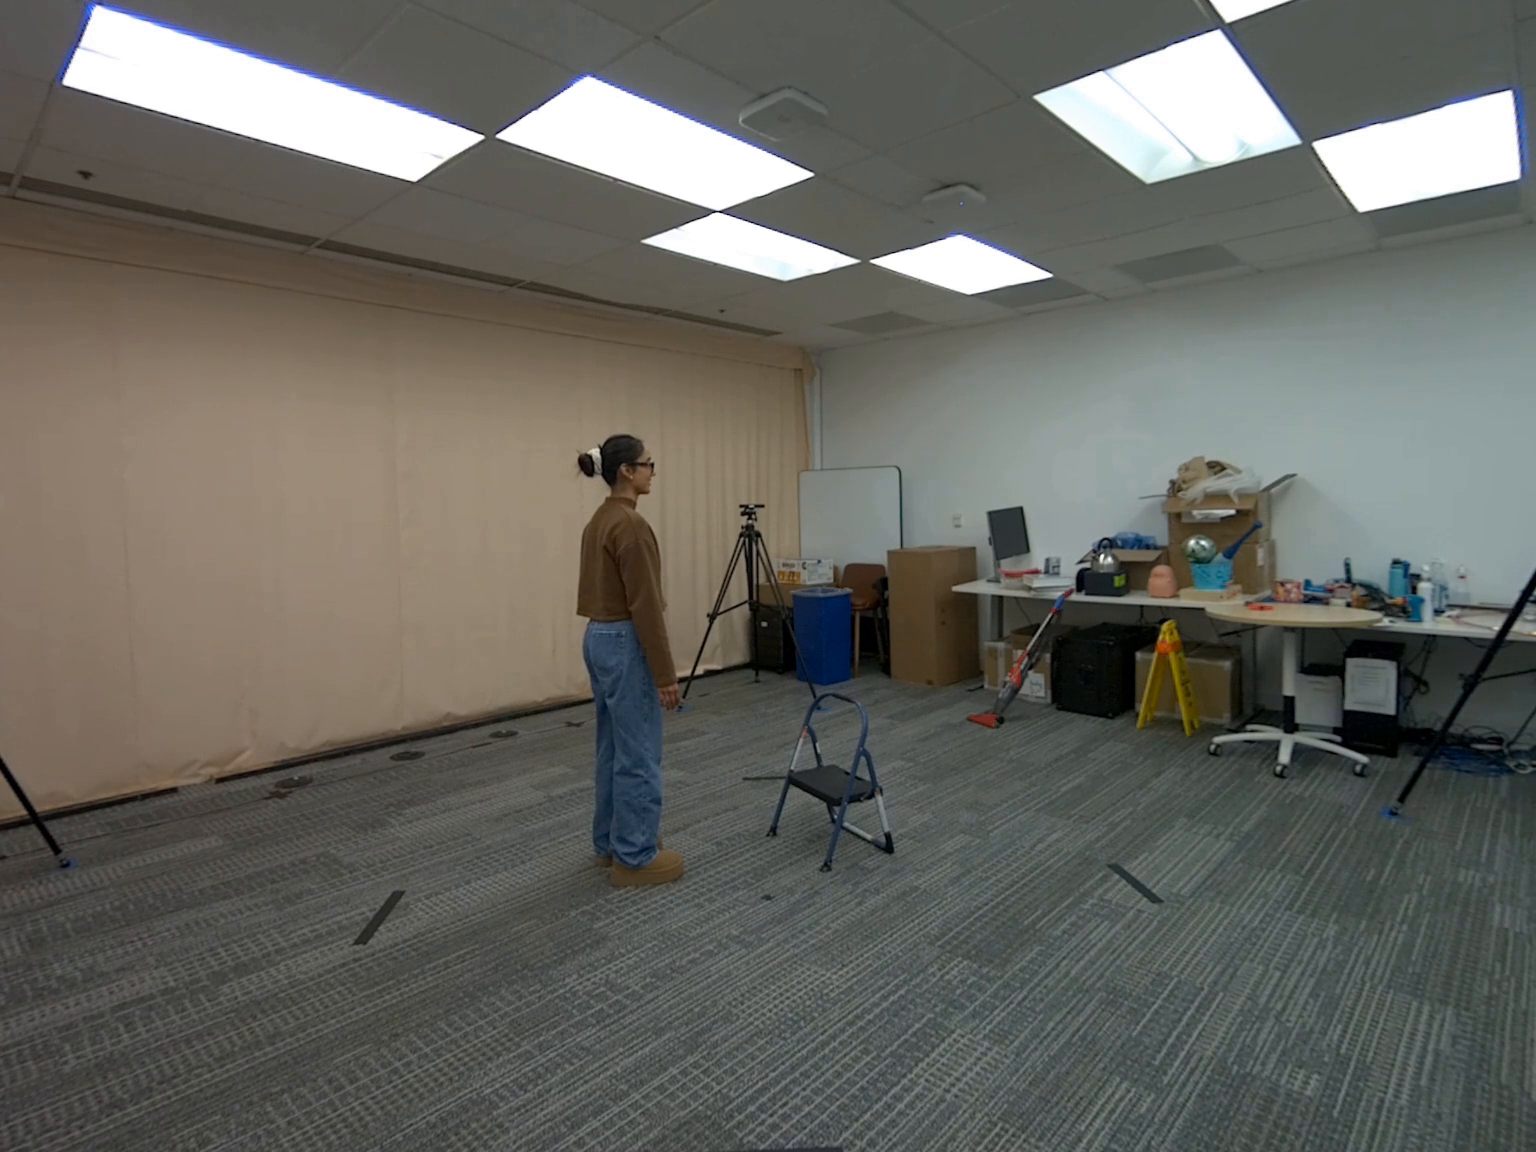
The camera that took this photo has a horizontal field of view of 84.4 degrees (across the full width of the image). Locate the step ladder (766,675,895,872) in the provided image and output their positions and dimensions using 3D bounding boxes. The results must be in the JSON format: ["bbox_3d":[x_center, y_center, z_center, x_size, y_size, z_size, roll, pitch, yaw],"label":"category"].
[{"bbox_3d":[0.252,0.795,3.426,0.340,0.605,0.443,-3,4,-30],"label":"step ladder"}]
